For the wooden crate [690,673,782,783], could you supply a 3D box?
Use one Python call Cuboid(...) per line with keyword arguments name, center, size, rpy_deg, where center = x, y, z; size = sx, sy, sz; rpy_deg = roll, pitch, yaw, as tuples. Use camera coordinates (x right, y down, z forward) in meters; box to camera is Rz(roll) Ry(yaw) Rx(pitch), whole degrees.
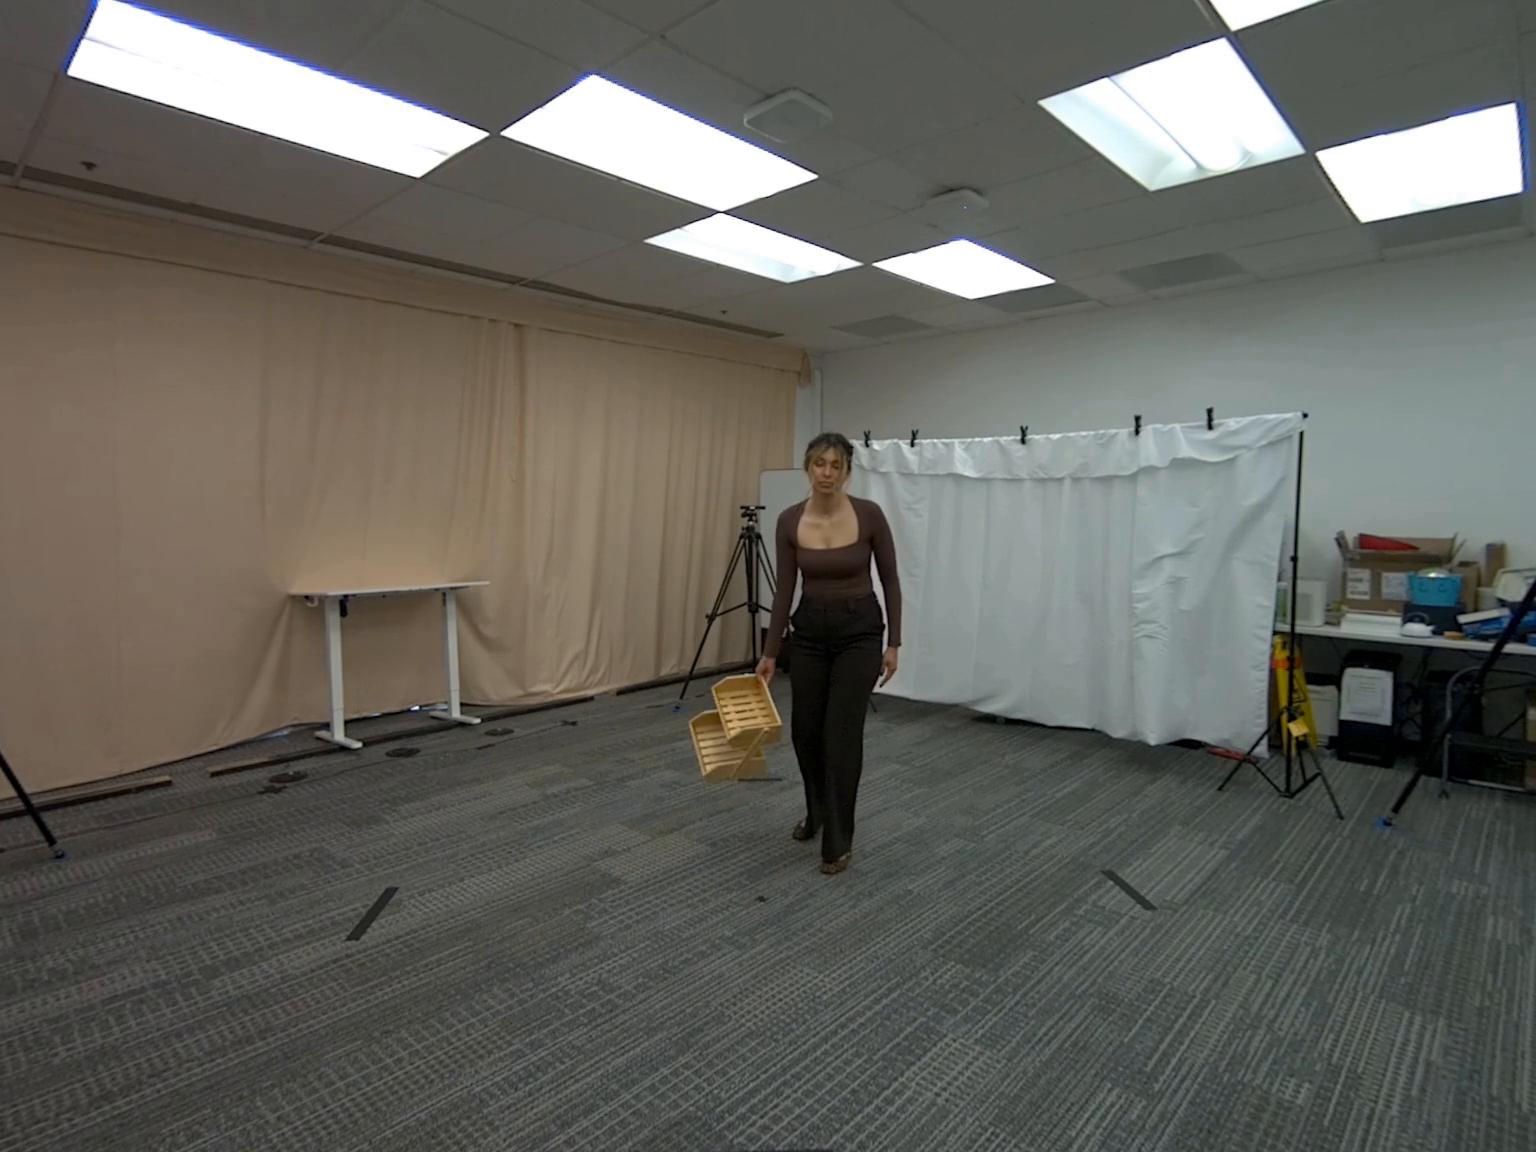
Cuboid(name="wooden crate", center=(-0.132, 0.607, 3.335), size=(0.298, 0.269, 0.333), rpy_deg=(-5, 33, -13))
